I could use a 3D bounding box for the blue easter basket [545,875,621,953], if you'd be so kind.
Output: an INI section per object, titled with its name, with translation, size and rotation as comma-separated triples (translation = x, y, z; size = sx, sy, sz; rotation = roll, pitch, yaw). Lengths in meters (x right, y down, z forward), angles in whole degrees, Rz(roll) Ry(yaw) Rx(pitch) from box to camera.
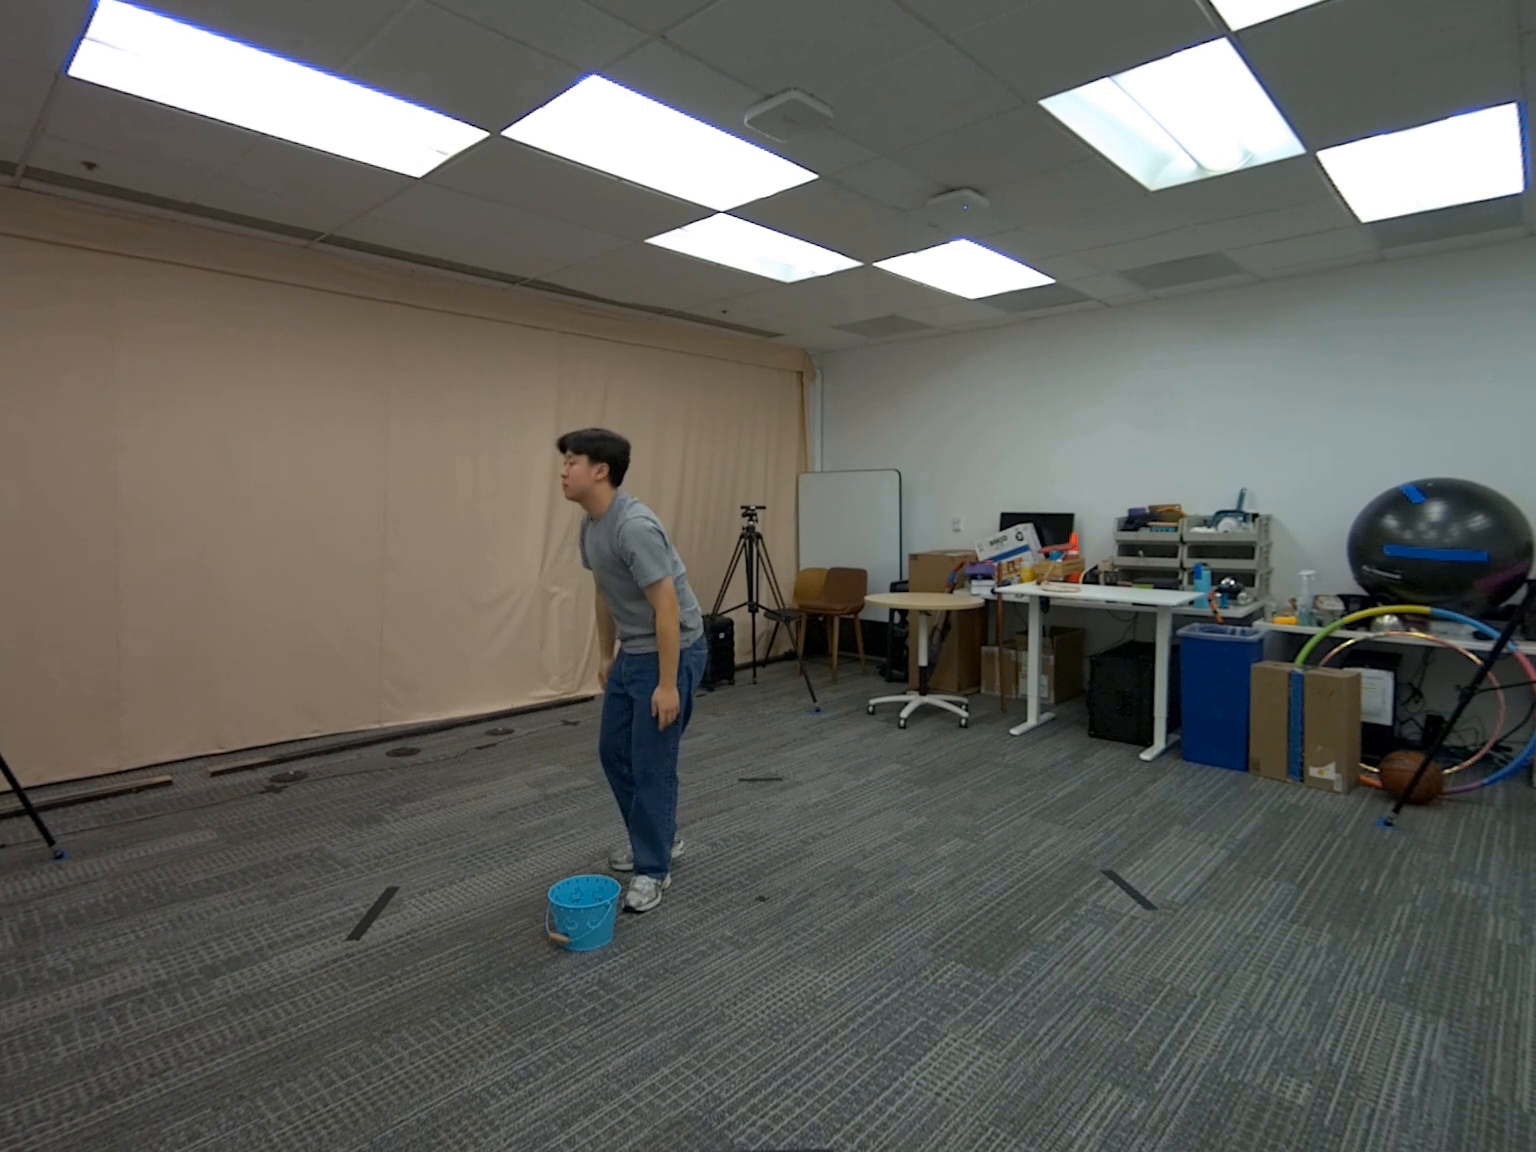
[blue easter basket]
translation = -0.598, 1.090, 2.726
size = 0.243, 0.155, 0.244
rotation = 0, 4, -2
